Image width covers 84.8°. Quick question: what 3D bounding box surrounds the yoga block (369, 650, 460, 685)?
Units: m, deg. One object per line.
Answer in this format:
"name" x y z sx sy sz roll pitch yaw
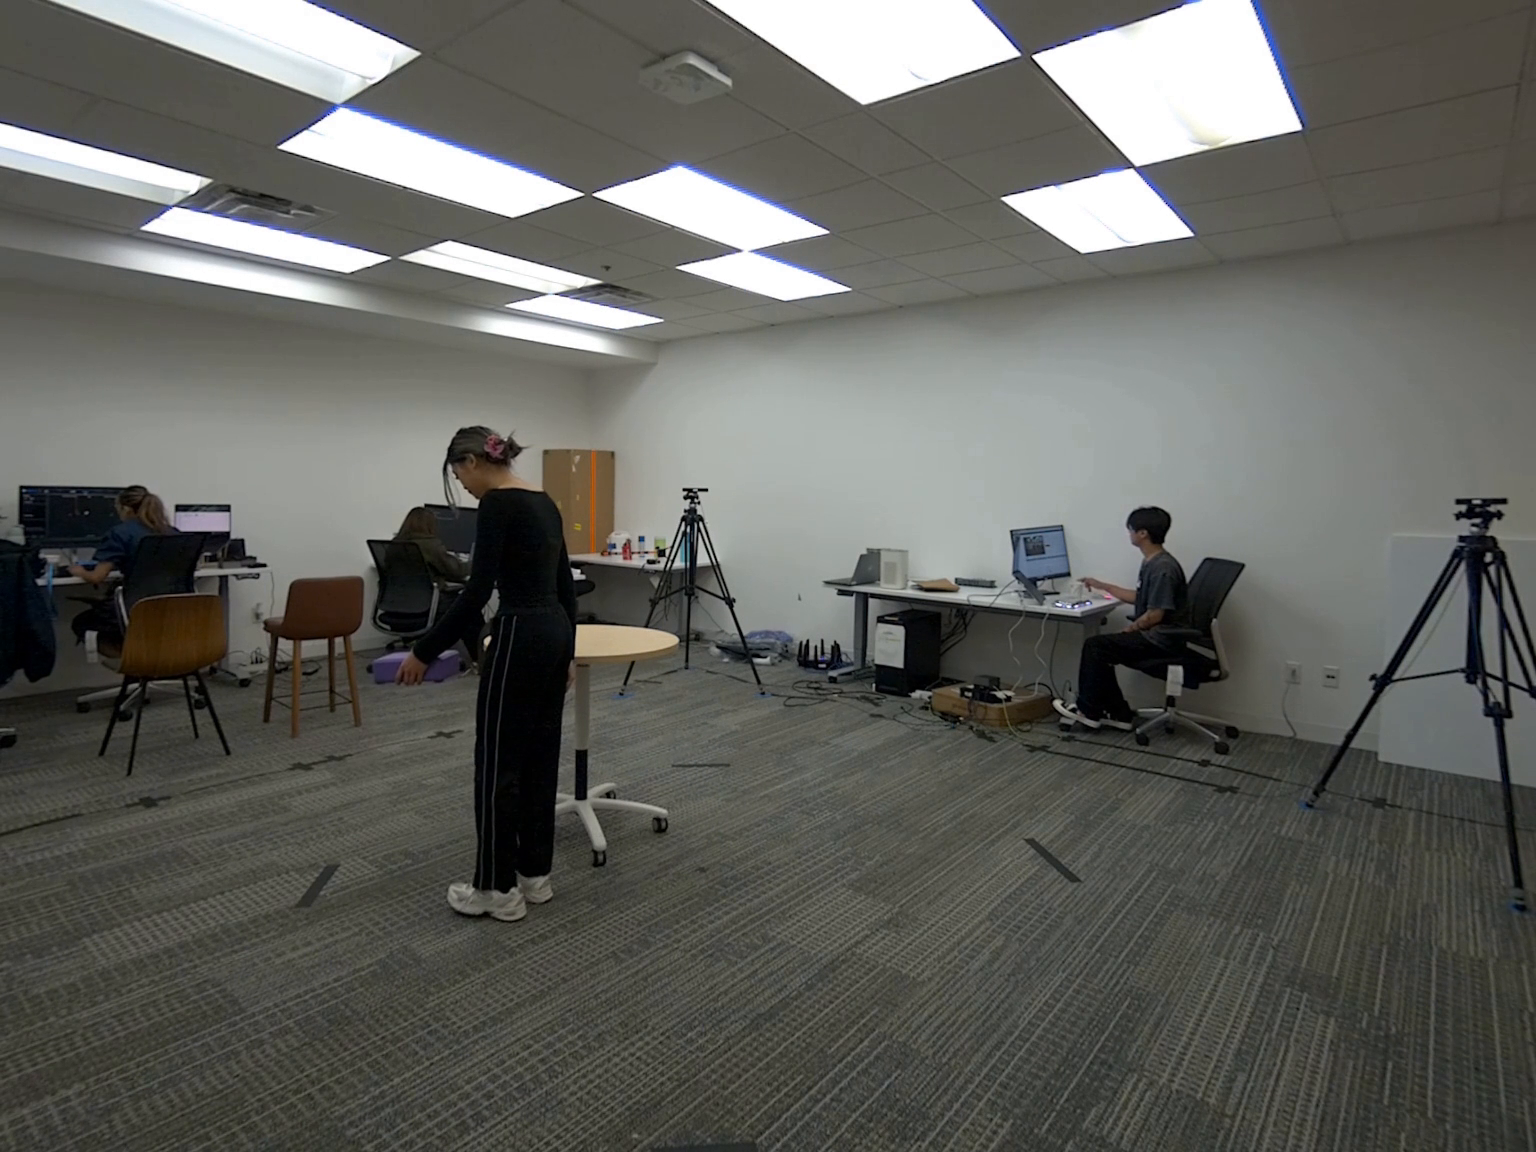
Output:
"yoga block" -1.152 0.295 2.746 0.231 0.076 0.148 -2 5 7
